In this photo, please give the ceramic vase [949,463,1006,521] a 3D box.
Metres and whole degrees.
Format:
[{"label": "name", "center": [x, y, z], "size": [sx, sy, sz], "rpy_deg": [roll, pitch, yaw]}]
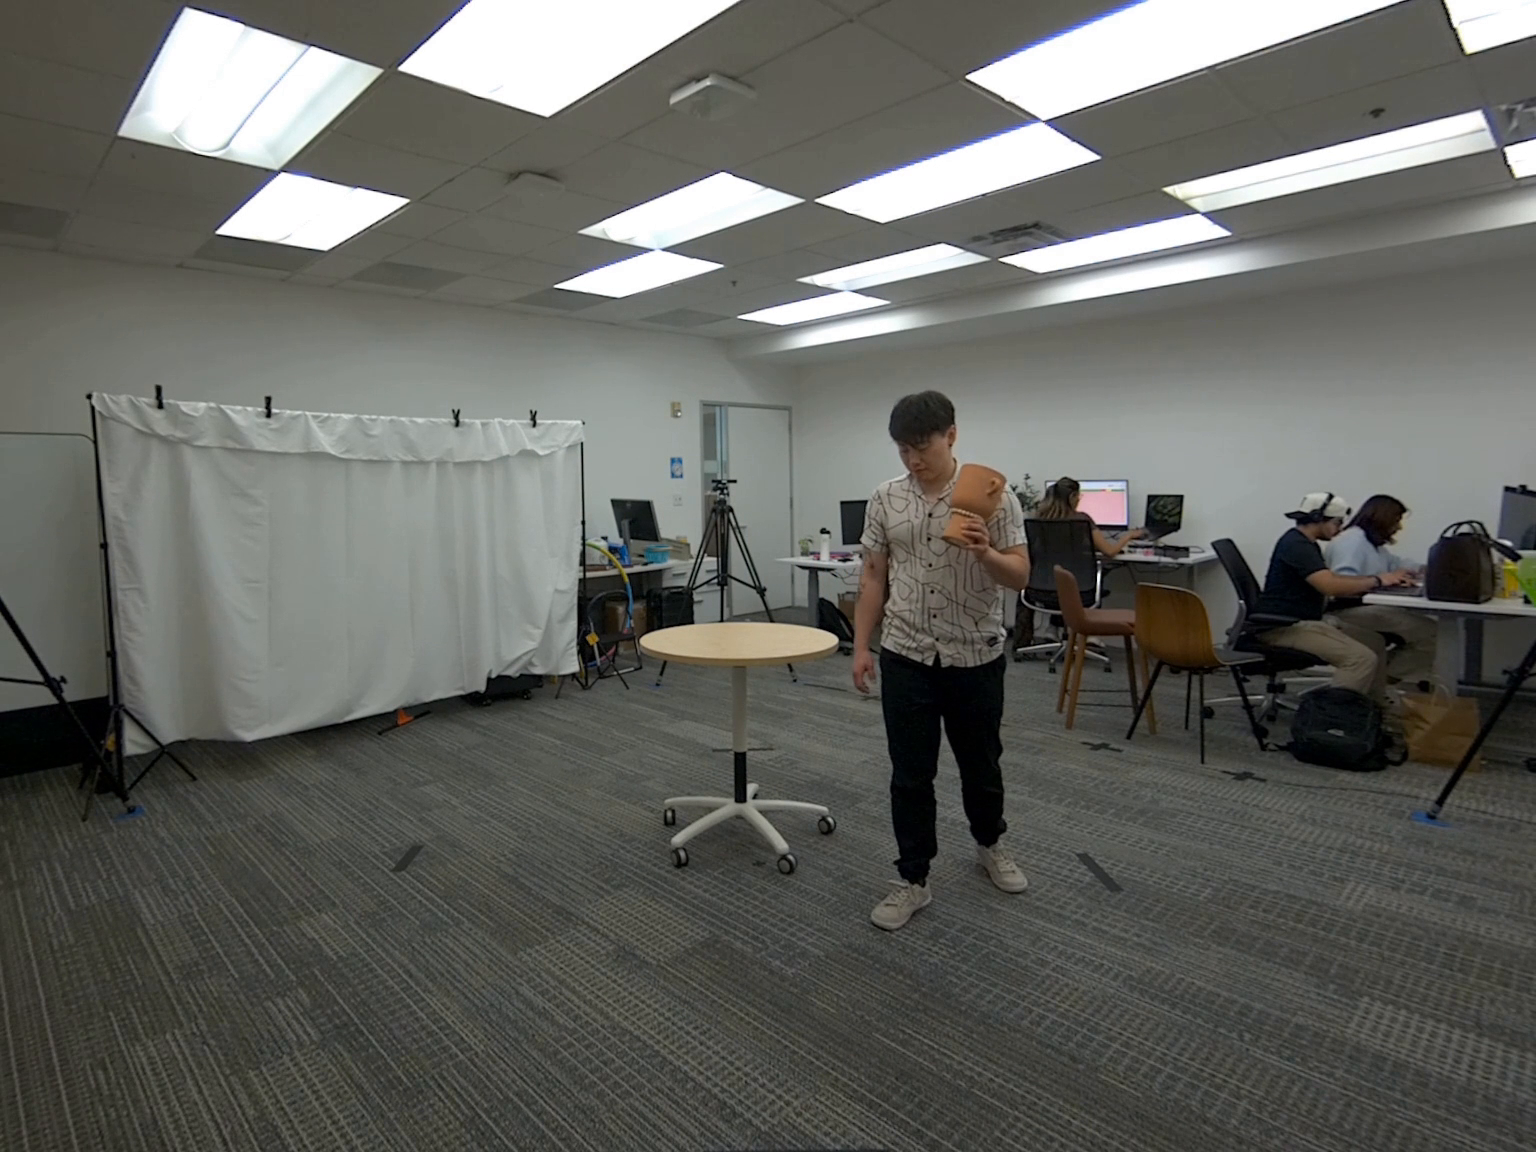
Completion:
[{"label": "ceramic vase", "center": [0.593, -0.192, 2.432], "size": [0.138, 0.220, 0.154], "rpy_deg": [21, -6, 24]}]
